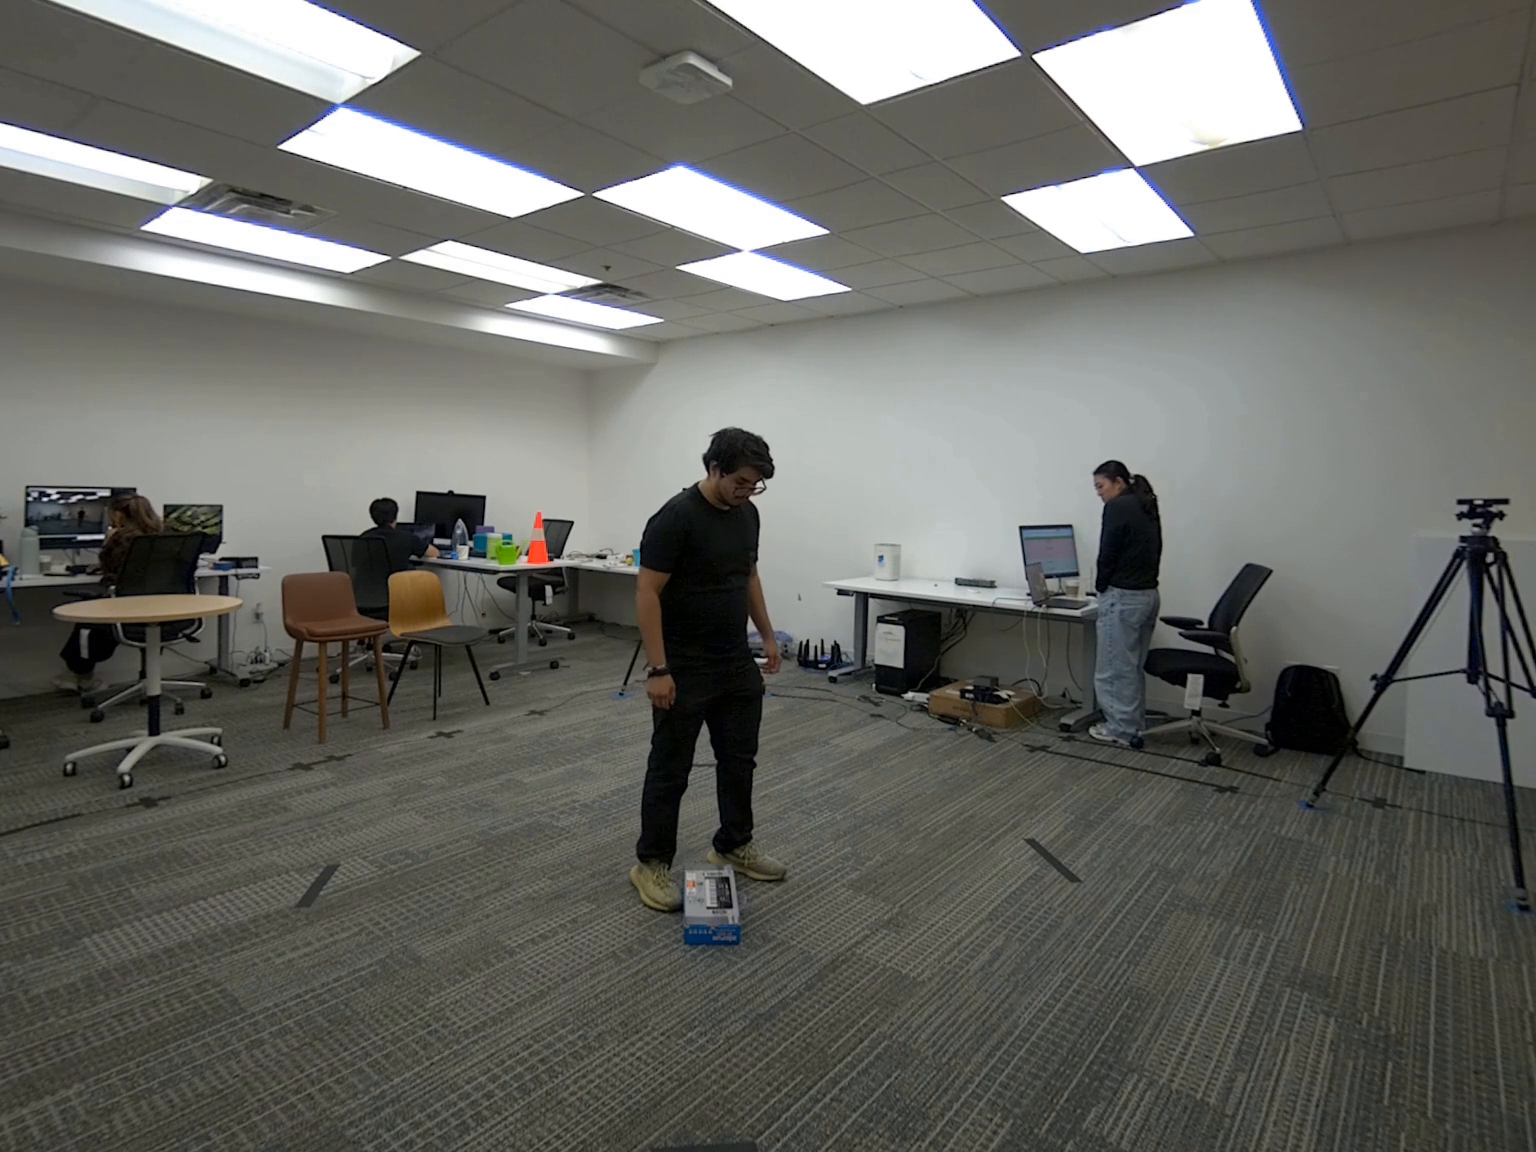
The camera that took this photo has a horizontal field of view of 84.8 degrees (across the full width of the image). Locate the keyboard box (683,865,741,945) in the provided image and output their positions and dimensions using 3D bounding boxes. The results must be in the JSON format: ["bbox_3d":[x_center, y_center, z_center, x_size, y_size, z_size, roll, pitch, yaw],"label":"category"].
[{"bbox_3d":[-0.198,1.069,2.806,0.175,0.059,0.440,0,5,-5],"label":"keyboard box"}]
